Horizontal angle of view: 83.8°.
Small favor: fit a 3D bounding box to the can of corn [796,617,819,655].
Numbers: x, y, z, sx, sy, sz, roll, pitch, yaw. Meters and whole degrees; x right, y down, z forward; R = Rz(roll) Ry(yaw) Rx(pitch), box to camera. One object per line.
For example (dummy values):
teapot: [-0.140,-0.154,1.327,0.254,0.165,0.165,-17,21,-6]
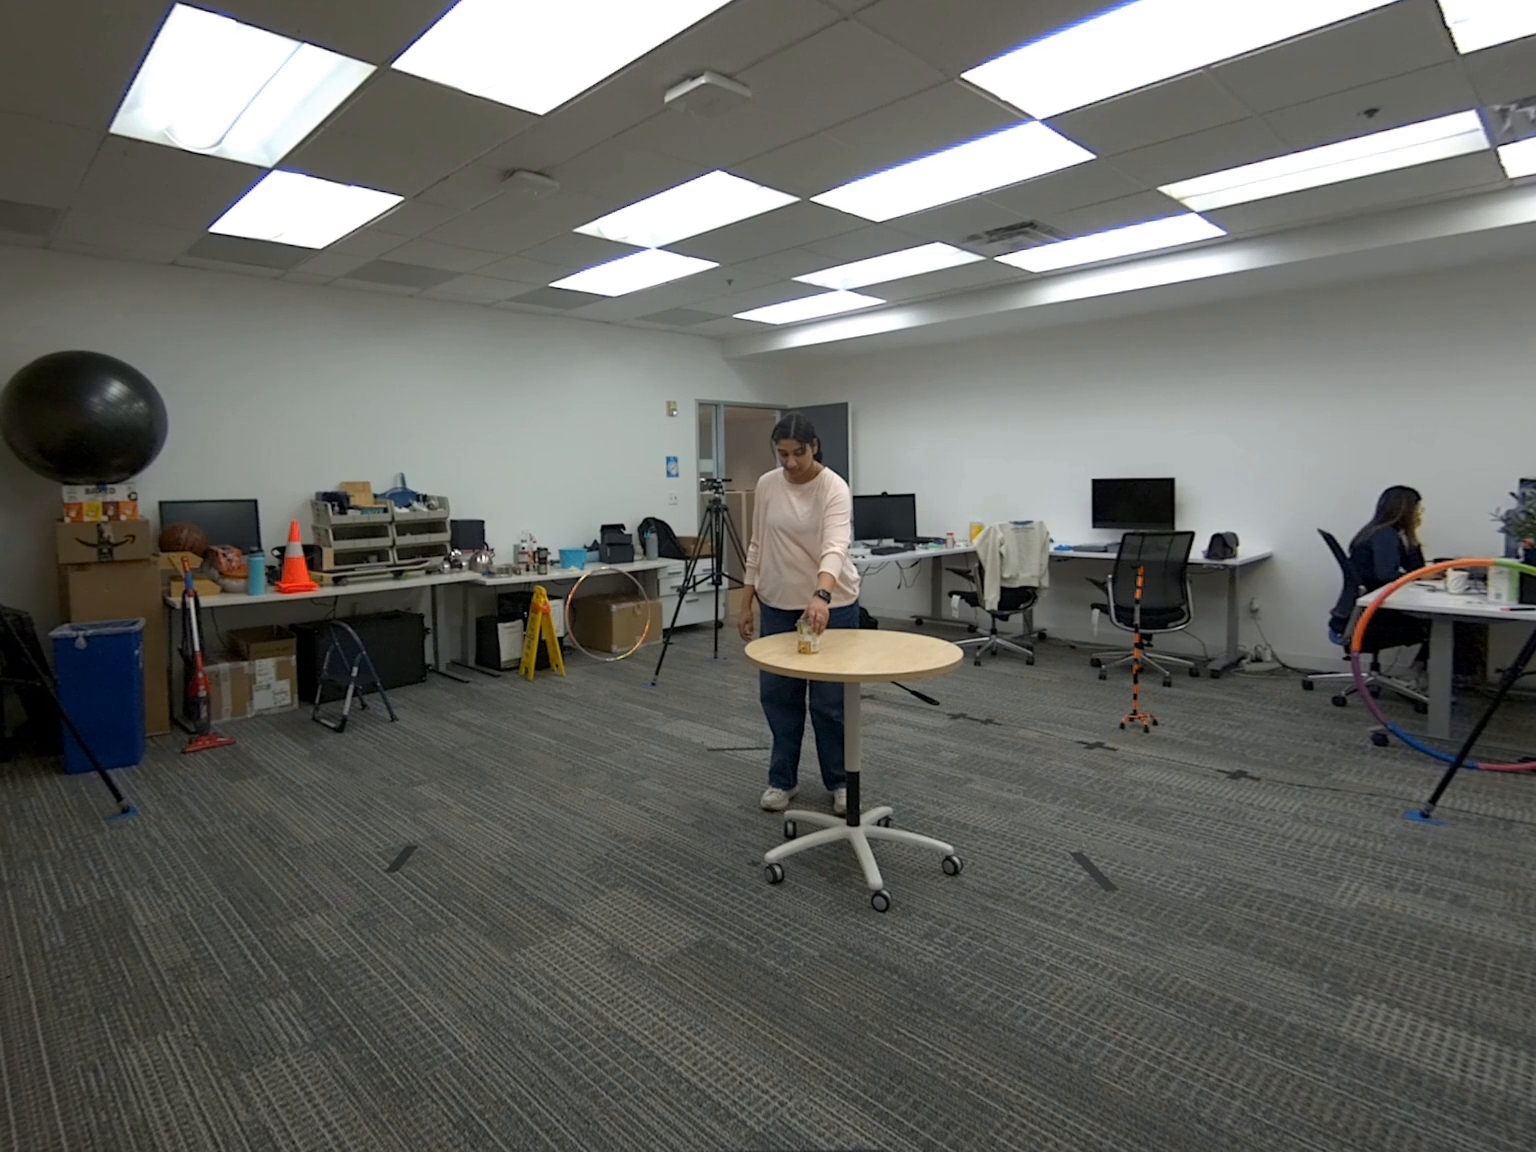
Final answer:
can of corn: [0.141,0.214,3.000,0.074,0.111,0.074,-1,3,-2]
